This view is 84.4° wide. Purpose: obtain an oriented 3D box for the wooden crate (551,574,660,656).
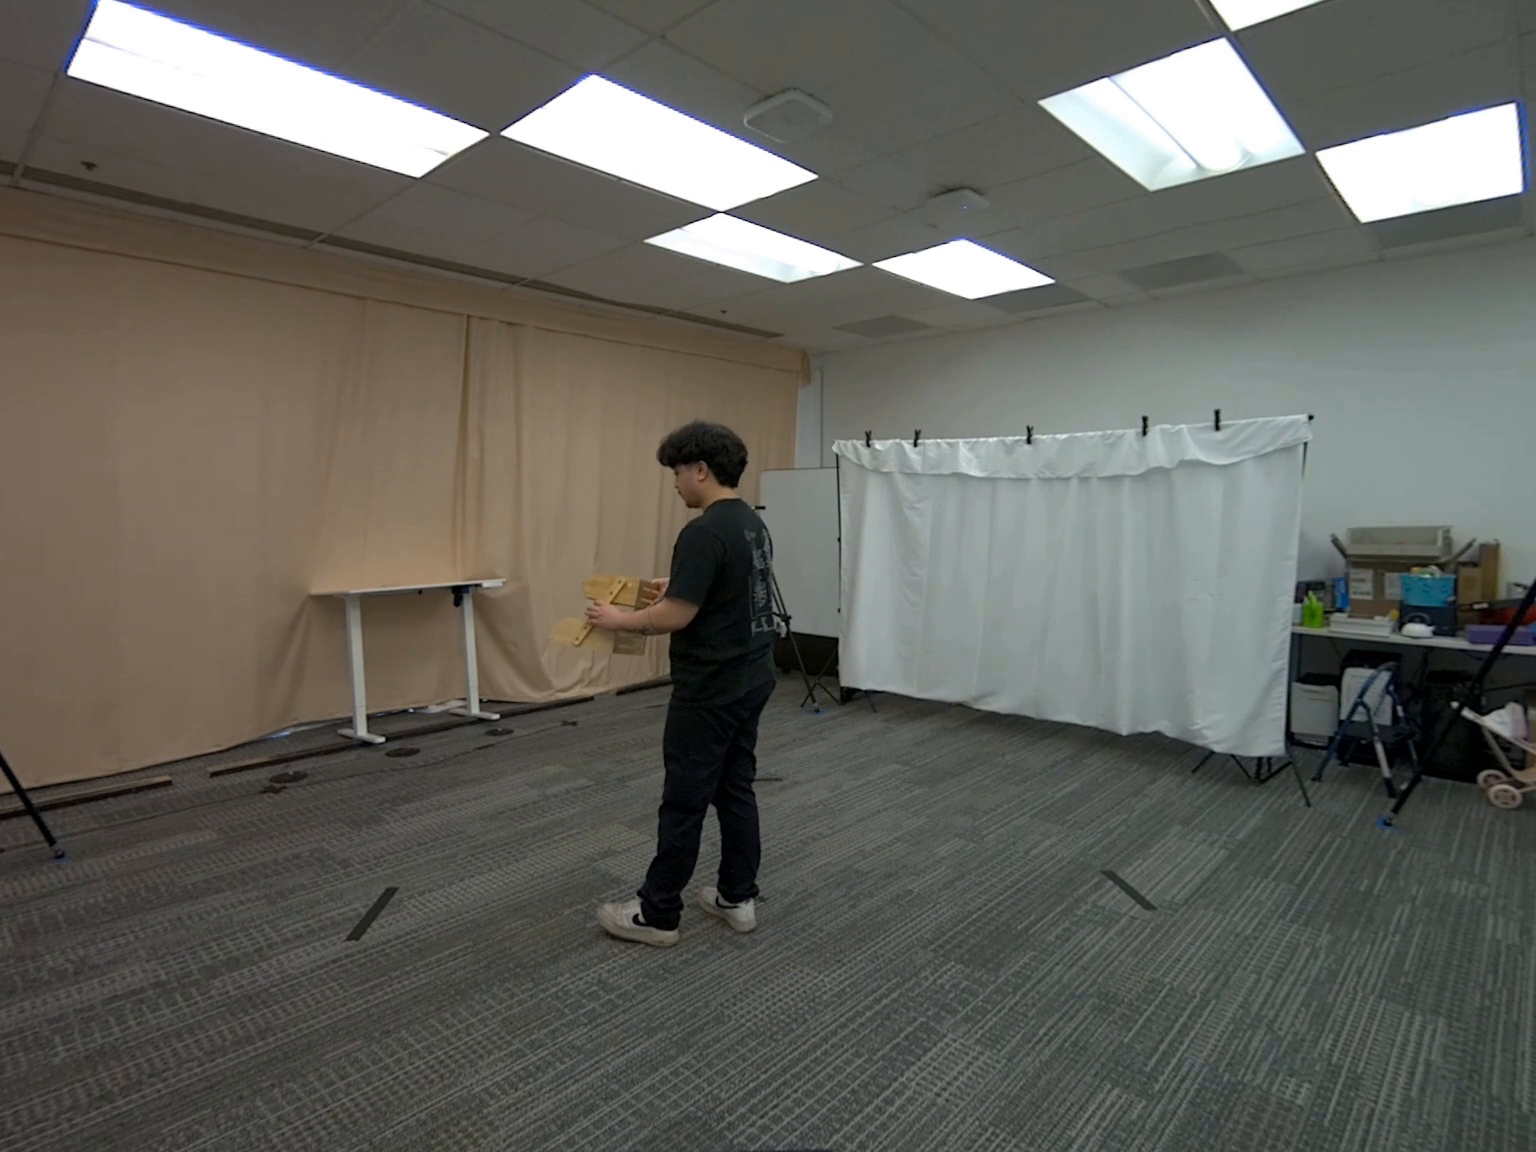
[{"bbox_3d":[-0.567,0.128,2.973,0.307,0.274,0.318,9,-4,14],"label":"wooden crate"}]
